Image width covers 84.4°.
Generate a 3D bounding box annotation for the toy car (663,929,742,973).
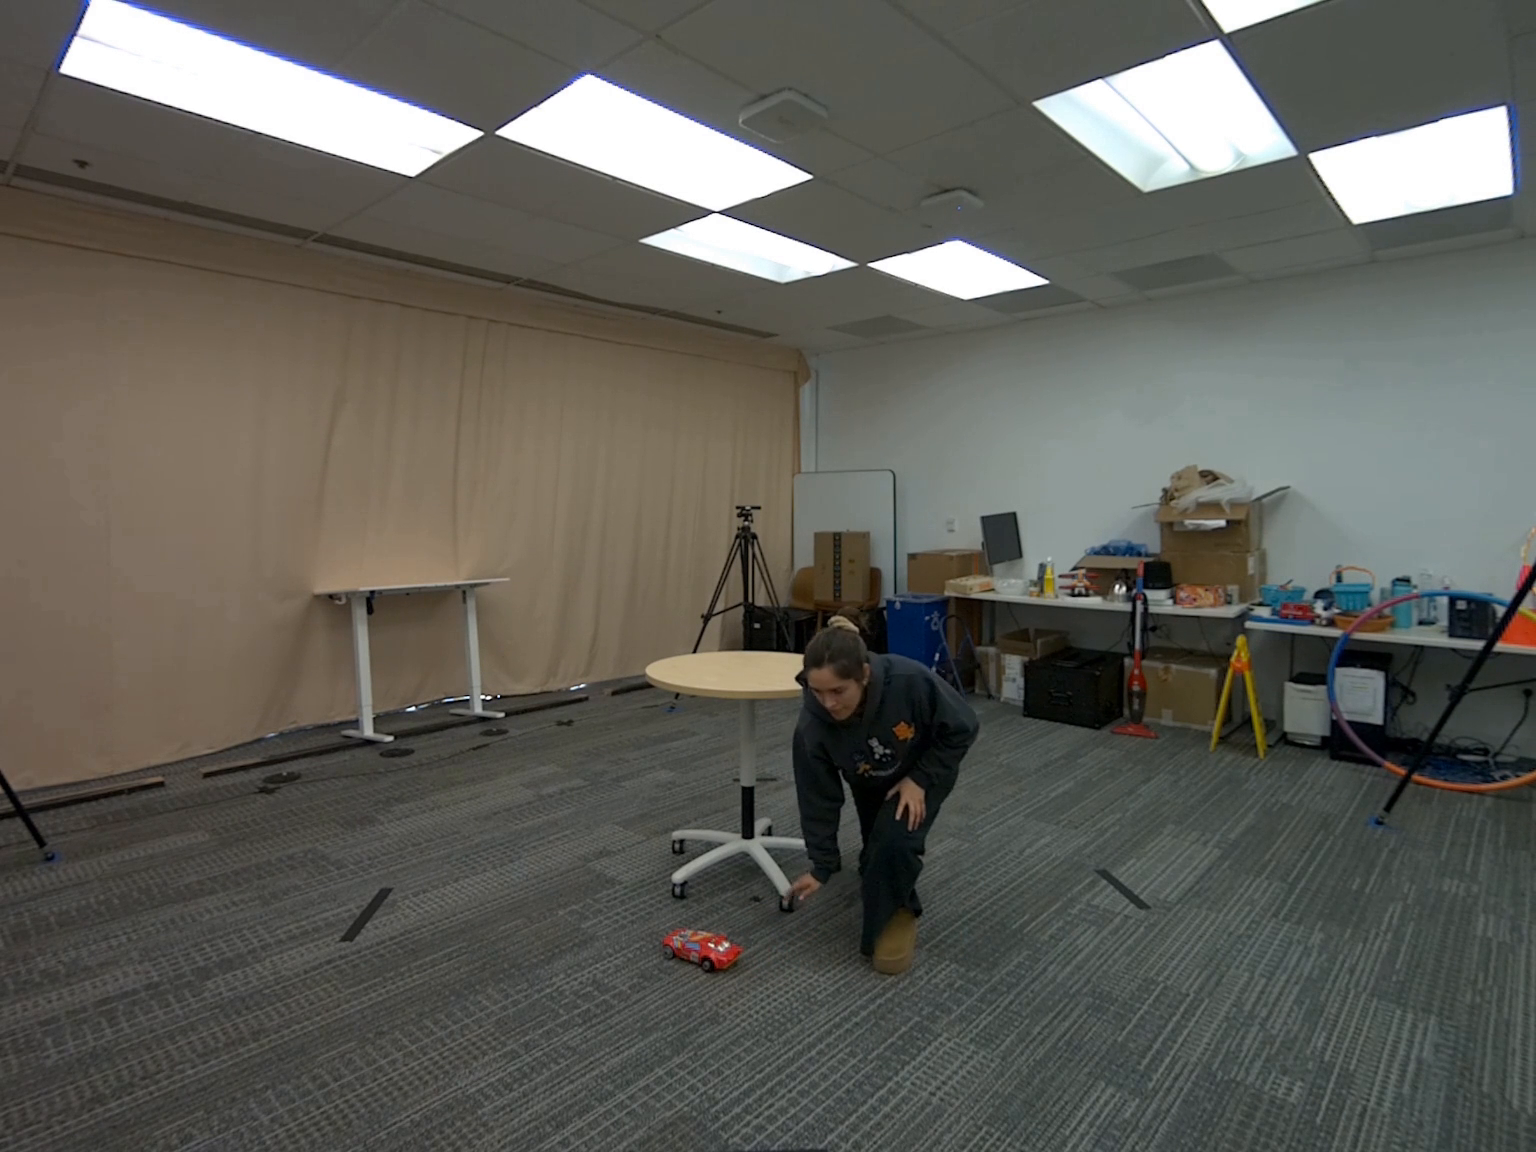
[{"bbox_3d":[-0.171,1.148,2.581,0.261,0.083,0.127,-10,-2,33],"label":"toy car"}]
